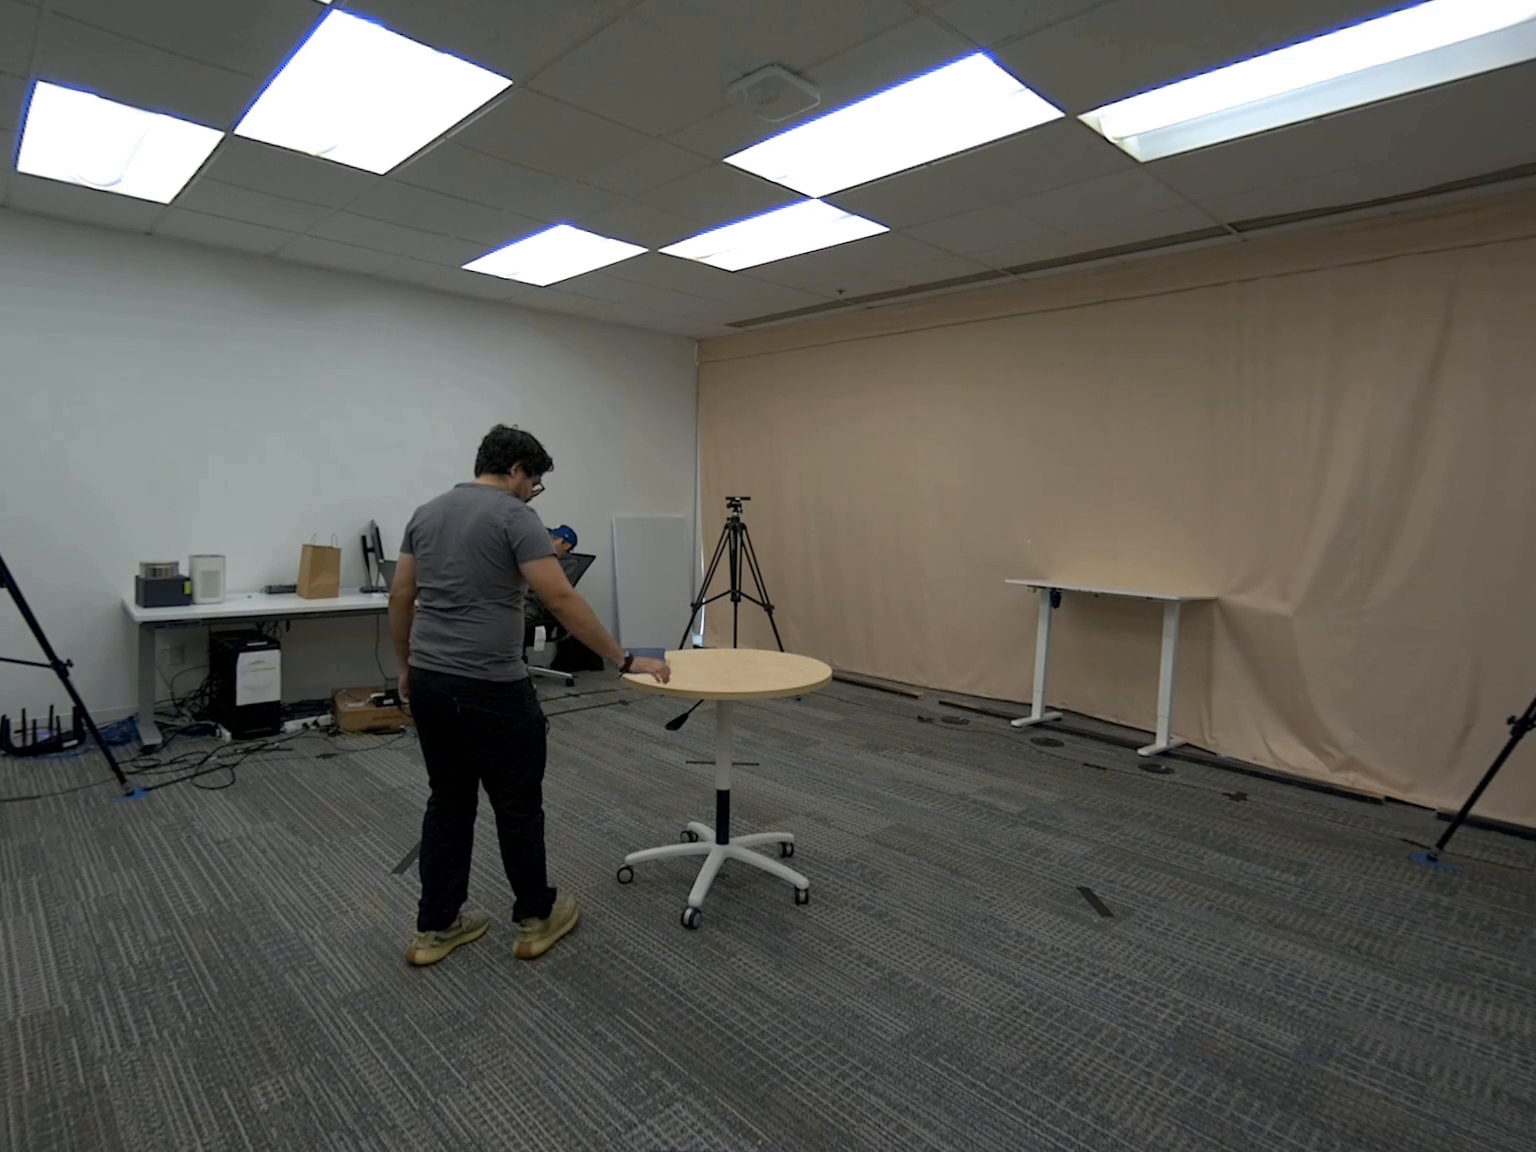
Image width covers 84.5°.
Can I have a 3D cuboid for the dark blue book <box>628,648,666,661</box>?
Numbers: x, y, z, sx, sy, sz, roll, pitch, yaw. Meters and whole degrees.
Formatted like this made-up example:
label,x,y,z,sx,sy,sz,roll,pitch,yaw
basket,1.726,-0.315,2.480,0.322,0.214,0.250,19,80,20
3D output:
label,x,y,z,sx,sy,sz,roll,pitch,yaw
dark blue book,-0.464,0.308,3.034,0.162,0.045,0.247,0,5,-7
